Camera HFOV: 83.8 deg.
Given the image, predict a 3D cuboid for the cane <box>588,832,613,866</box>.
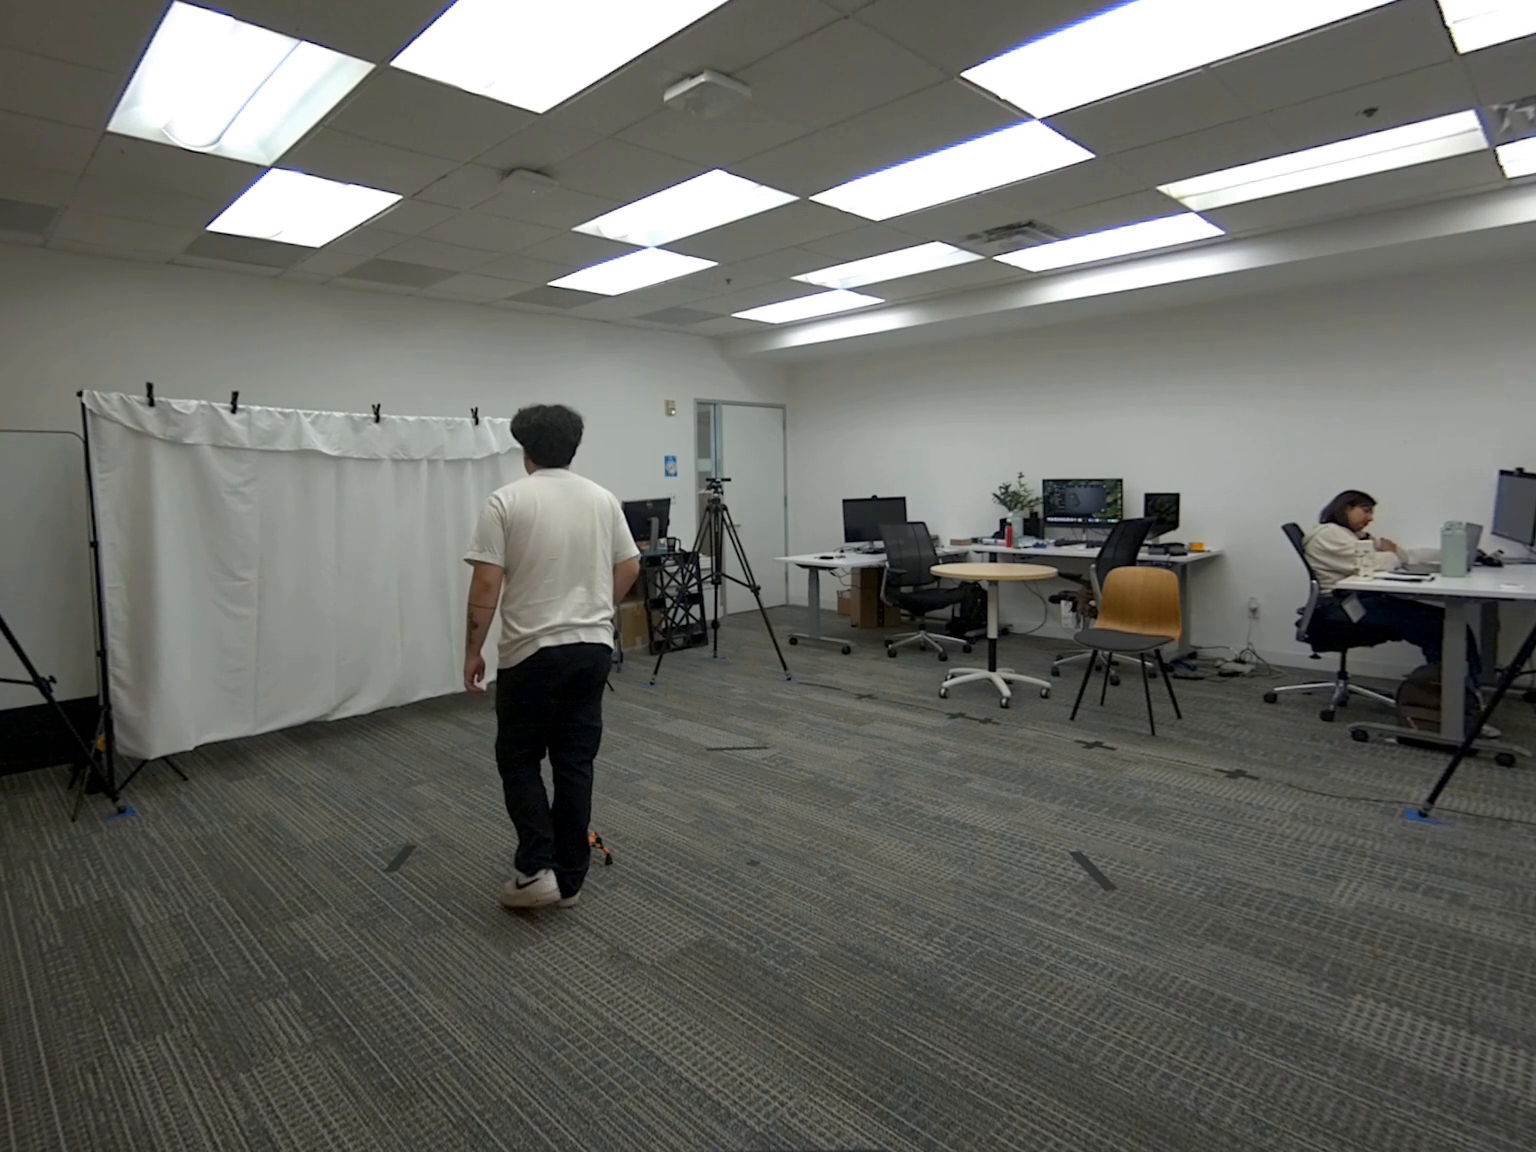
[{"bbox_3d":[-0.668,0.588,3.158,0.148,0.906,0.211,-1,3,-25],"label":"cane"}]
